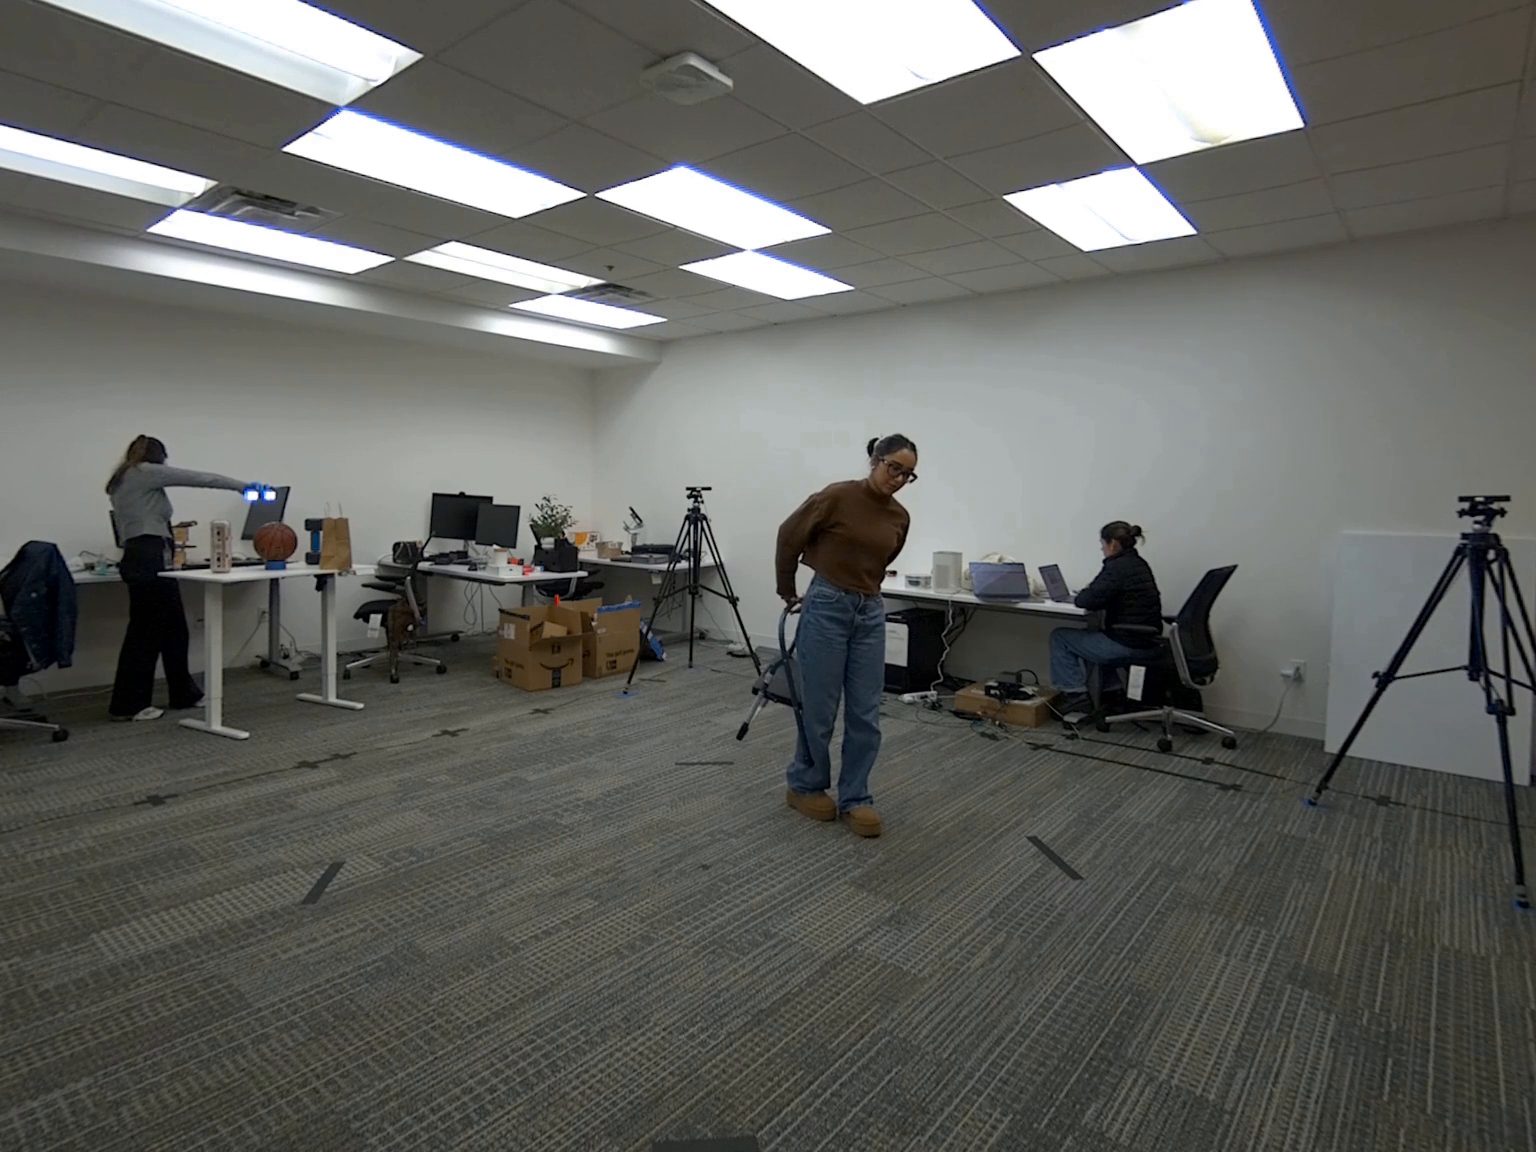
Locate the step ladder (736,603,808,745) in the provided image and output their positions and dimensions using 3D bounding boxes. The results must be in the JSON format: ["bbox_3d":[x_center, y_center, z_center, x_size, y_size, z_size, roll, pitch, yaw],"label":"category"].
[{"bbox_3d":[0.110,0.420,3.747,0.356,0.598,0.428,14,18,14],"label":"step ladder"}]
